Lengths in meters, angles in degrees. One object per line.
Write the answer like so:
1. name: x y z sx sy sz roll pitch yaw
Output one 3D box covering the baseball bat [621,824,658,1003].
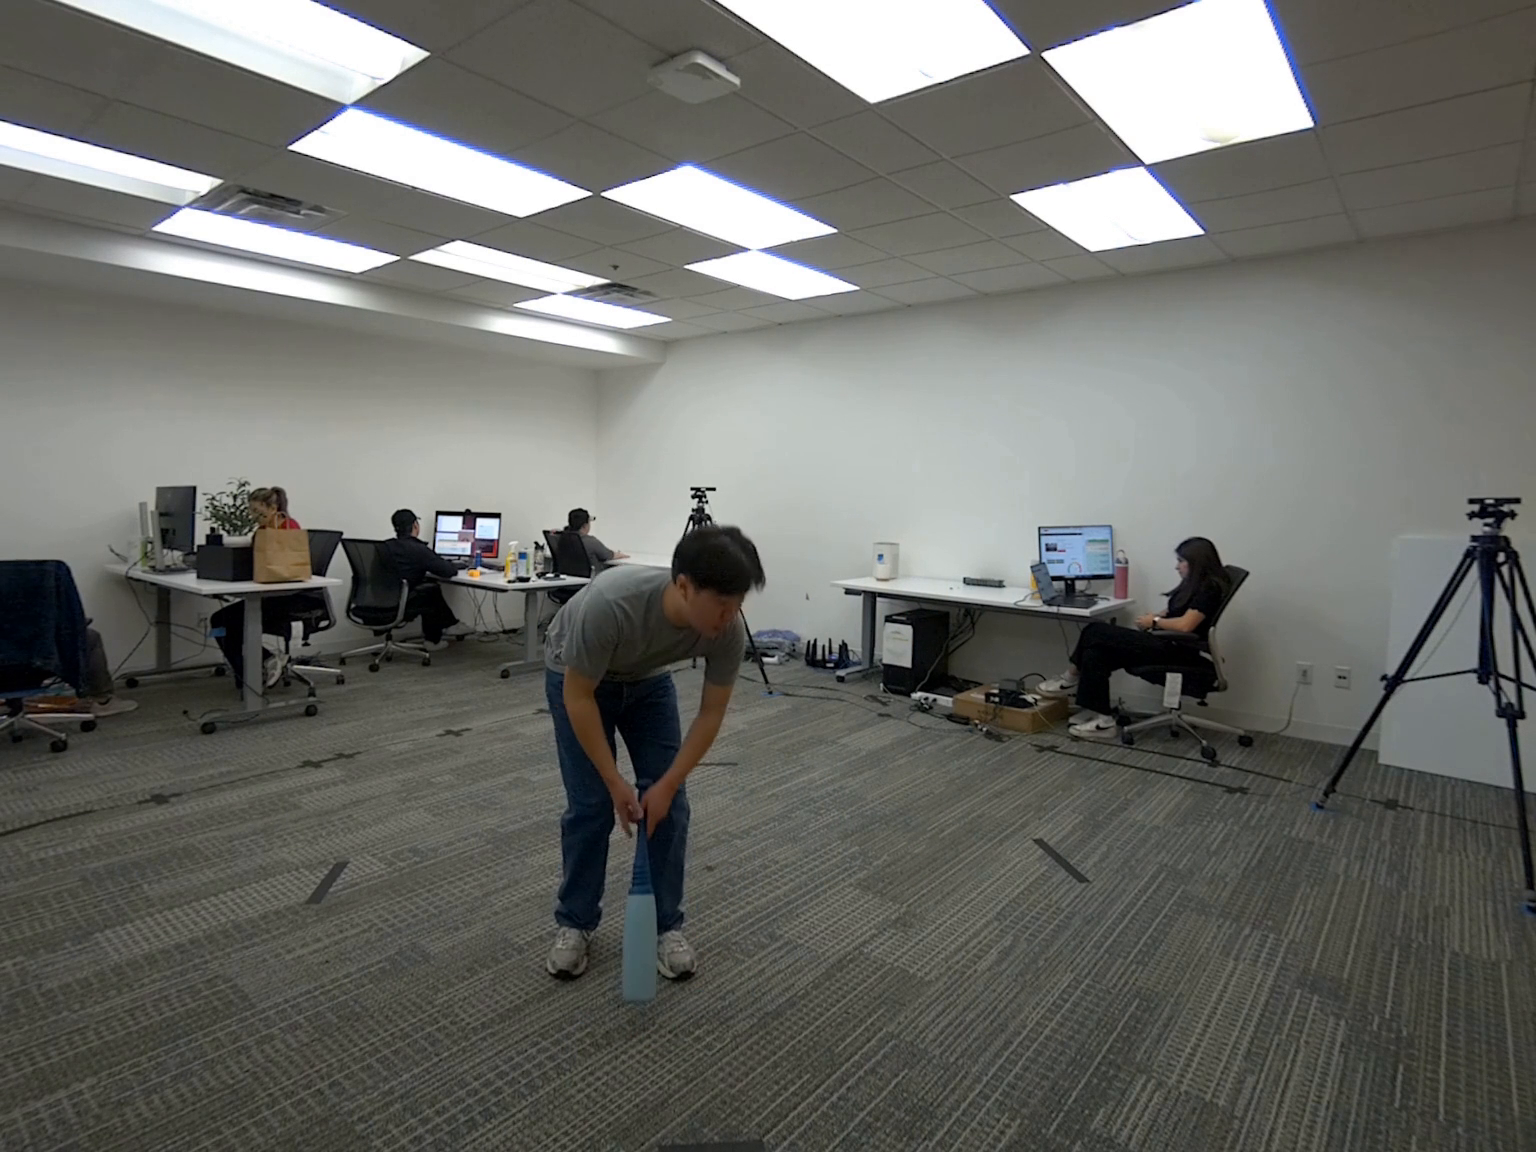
1. baseball bat: -0.346 0.826 2.240 0.089 0.553 0.087 0 -21 -2
